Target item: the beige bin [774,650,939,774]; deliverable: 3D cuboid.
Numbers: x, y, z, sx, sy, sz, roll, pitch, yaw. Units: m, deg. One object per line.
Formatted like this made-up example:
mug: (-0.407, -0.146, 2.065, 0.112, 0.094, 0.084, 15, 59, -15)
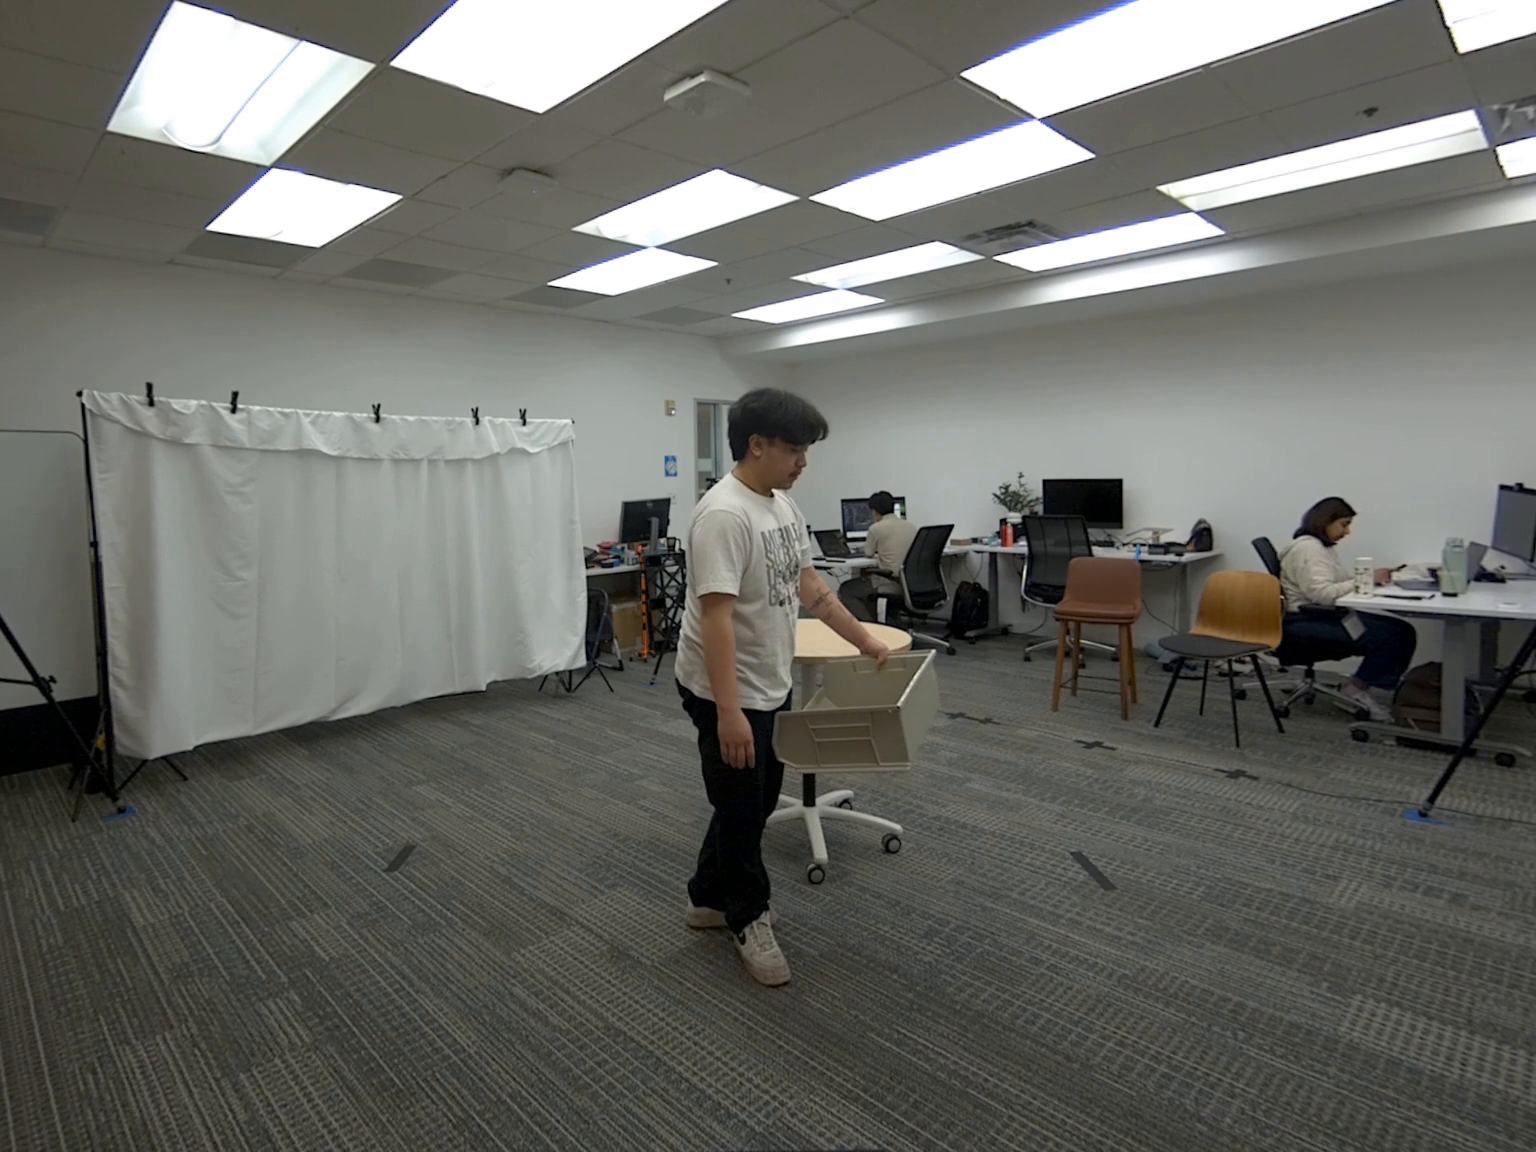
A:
beige bin: (0.262, 0.372, 2.392, 0.385, 0.187, 0.417, -4, 12, 26)
